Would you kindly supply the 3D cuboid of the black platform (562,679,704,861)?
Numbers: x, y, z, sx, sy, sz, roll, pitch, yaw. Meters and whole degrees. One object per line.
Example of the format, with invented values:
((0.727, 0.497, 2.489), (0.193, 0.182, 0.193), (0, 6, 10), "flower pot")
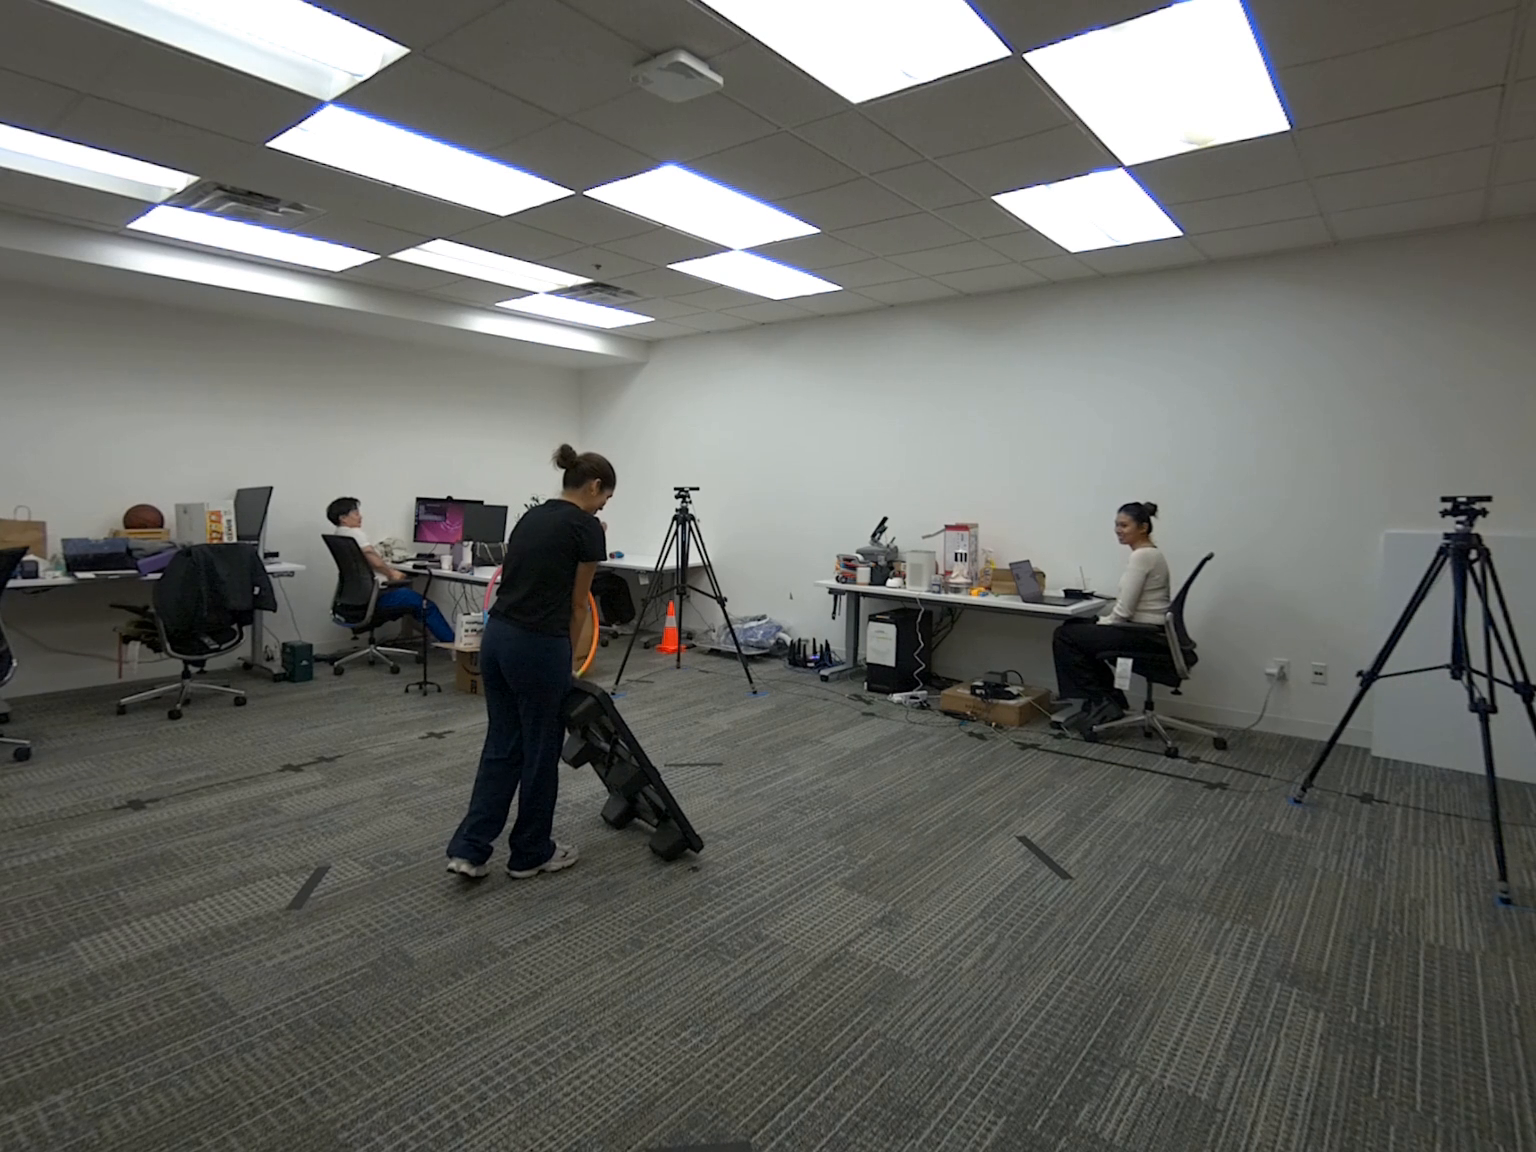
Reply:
((-0.612, 0.705, 3.259), (0.142, 0.784, 0.625), (-39, 25, -28), "black platform")
